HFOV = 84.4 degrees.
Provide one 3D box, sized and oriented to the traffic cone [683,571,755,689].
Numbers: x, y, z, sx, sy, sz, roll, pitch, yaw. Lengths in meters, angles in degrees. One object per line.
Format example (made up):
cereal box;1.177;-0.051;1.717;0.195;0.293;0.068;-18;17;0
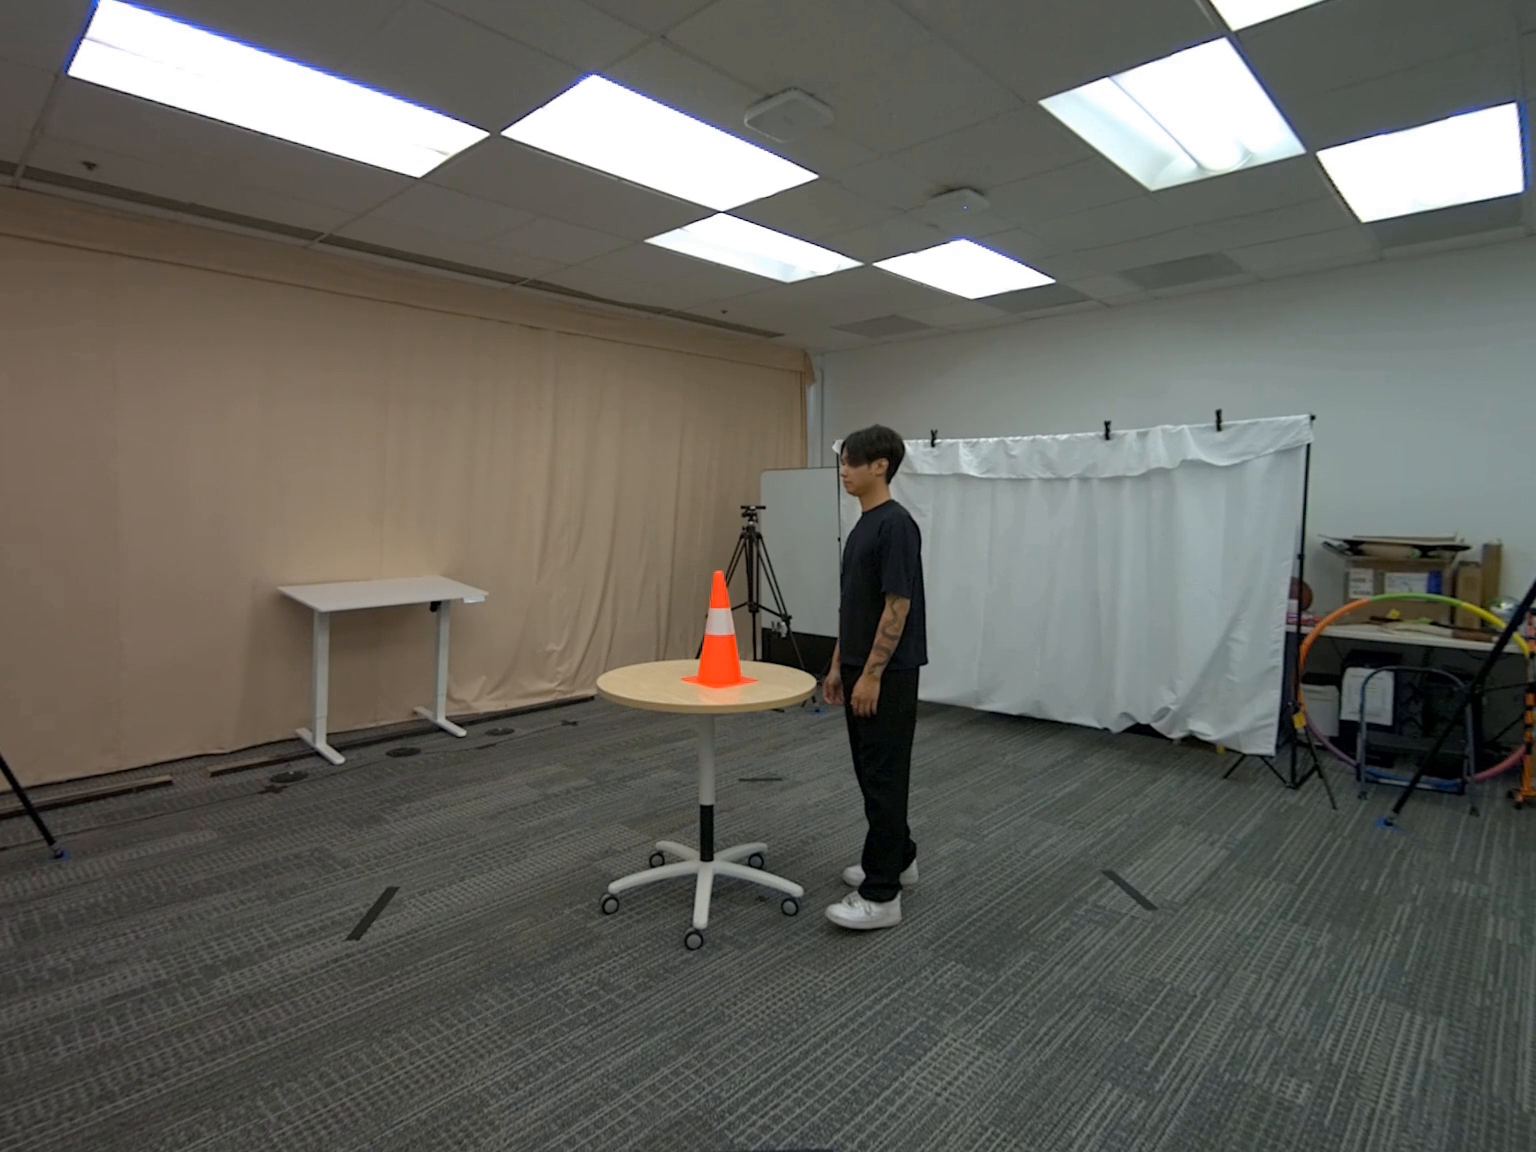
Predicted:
traffic cone;-0.164;0.181;2.925;0.197;0.383;0.212;-1;3;-44
